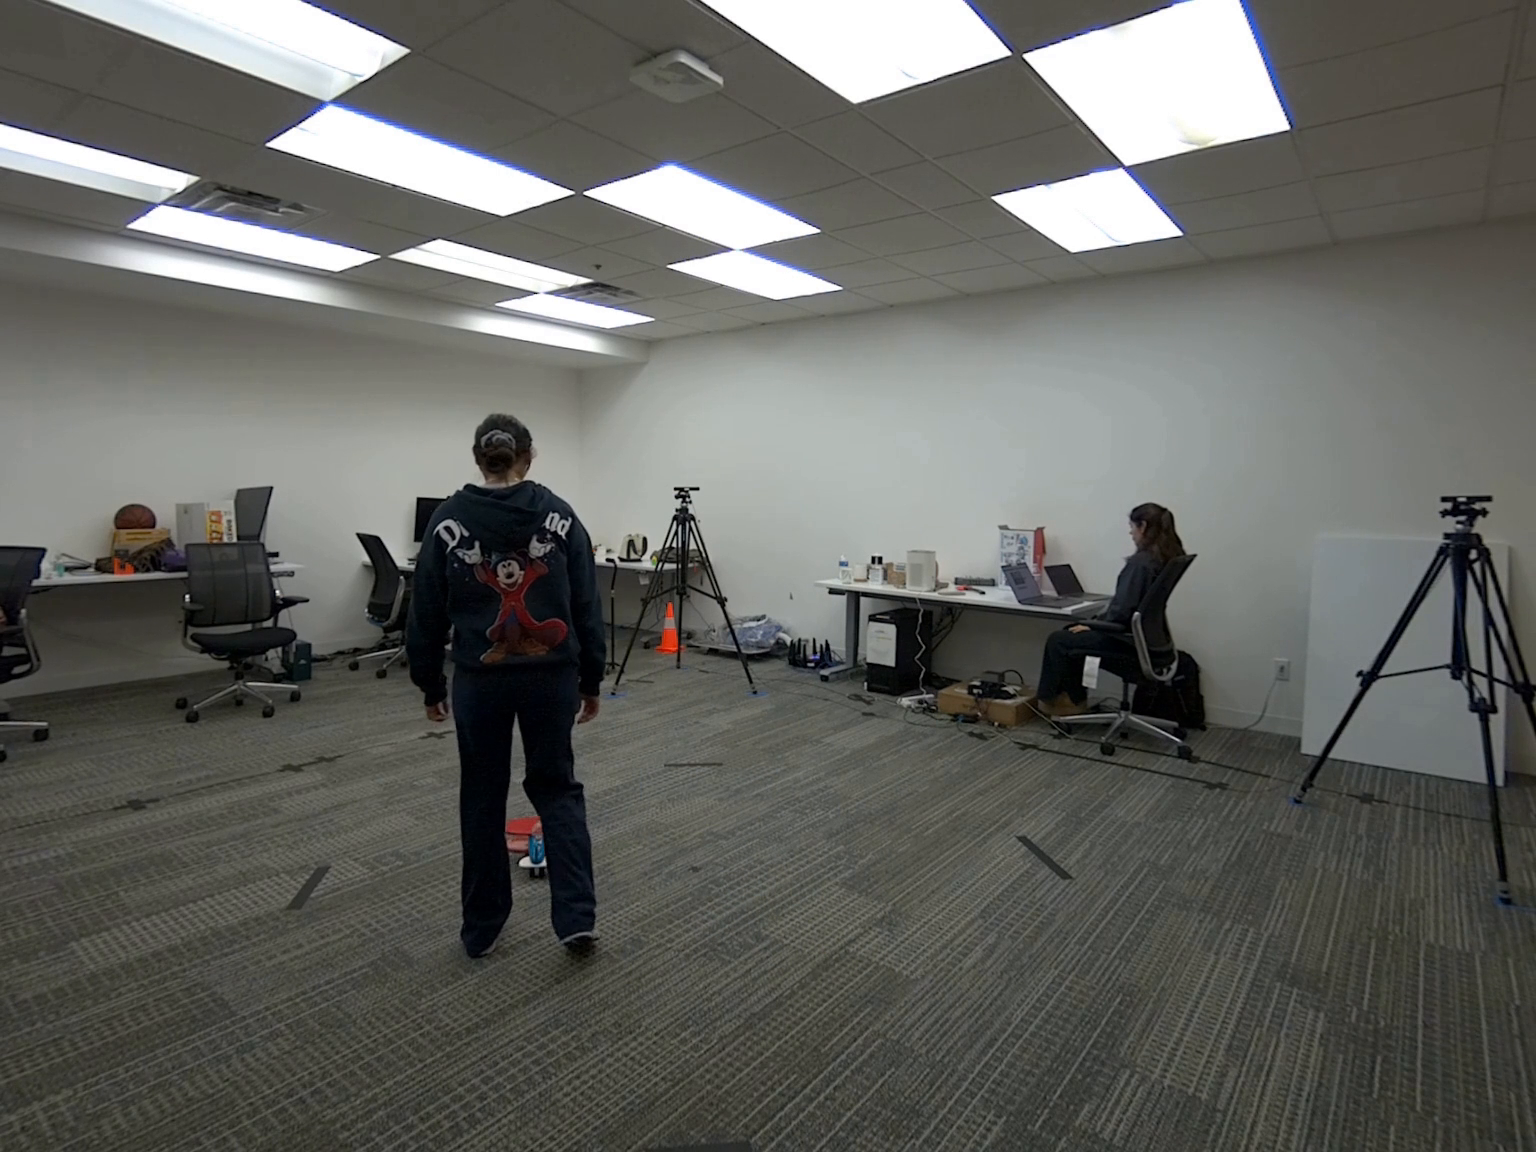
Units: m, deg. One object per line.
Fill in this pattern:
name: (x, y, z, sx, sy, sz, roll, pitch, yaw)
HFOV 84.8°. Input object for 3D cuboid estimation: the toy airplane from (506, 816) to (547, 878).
toy airplane: (-0.828, 0.977, 3.114, 0.244, 0.156, 0.267, -2, 4, -37)
